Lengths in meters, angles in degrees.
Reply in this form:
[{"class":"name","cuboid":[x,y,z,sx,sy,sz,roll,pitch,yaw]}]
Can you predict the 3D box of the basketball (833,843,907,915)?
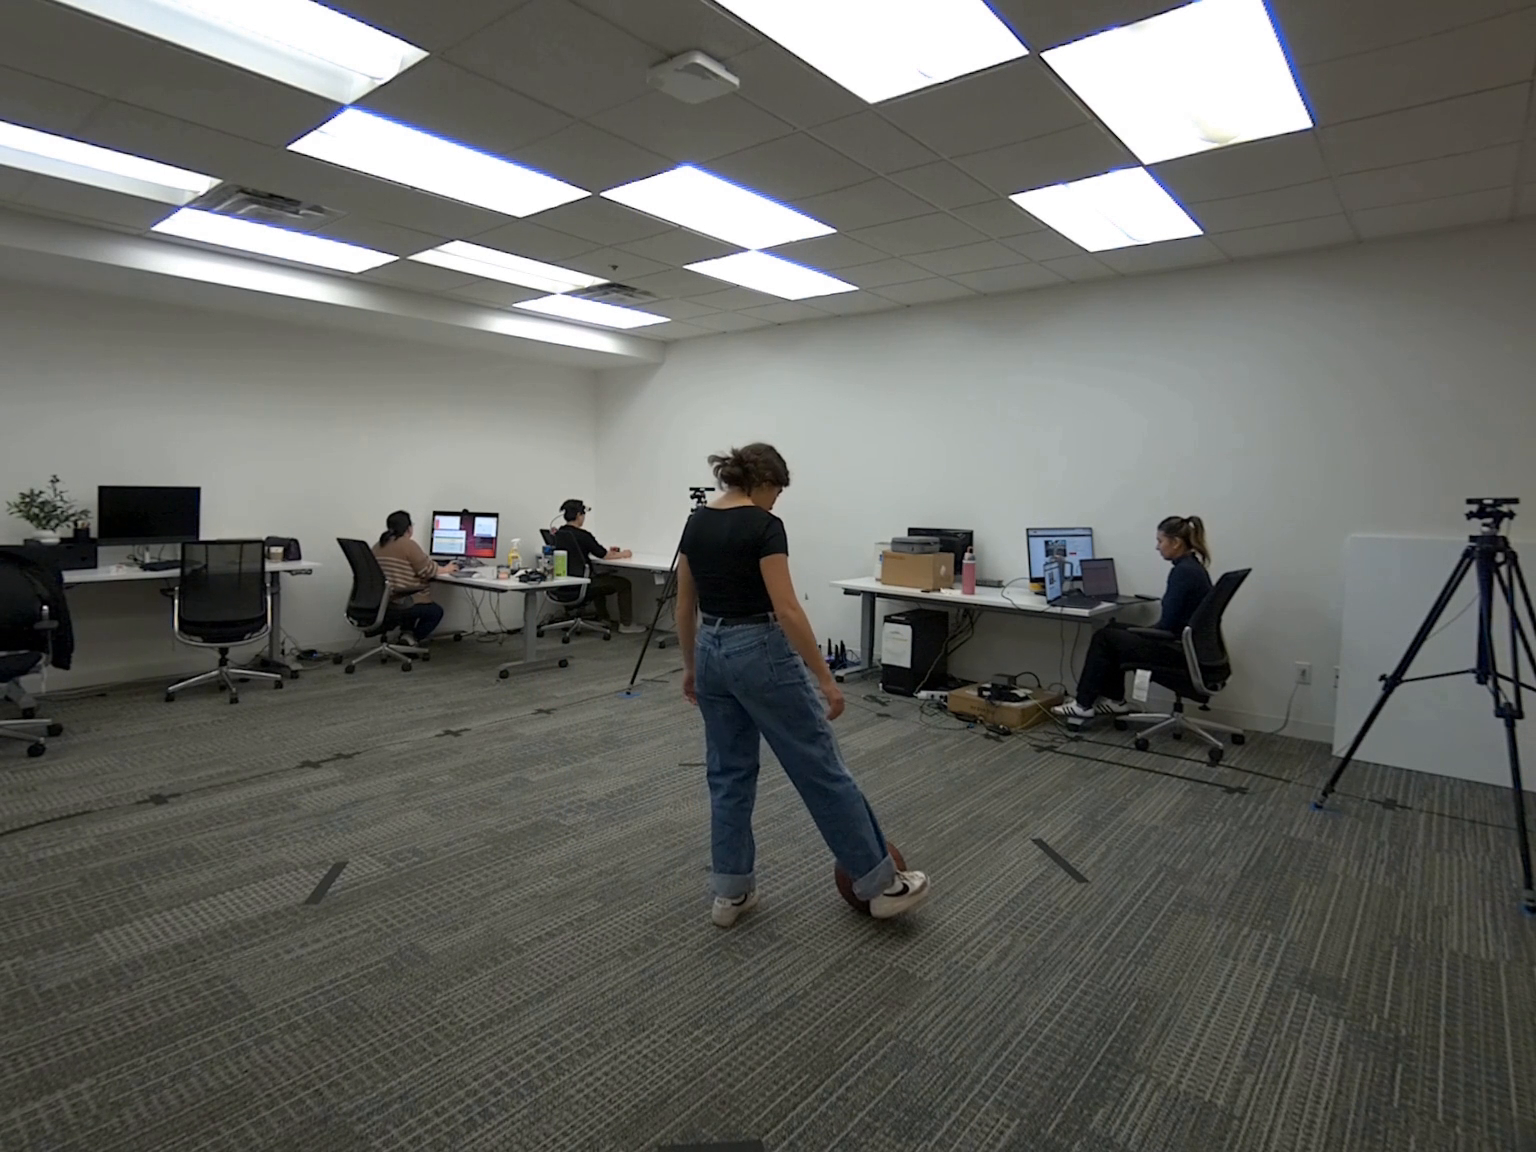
[{"class":"basketball","cuboid":[0.328,0.986,2.829,0.235,0.235,0.237,1,4,-2]}]
